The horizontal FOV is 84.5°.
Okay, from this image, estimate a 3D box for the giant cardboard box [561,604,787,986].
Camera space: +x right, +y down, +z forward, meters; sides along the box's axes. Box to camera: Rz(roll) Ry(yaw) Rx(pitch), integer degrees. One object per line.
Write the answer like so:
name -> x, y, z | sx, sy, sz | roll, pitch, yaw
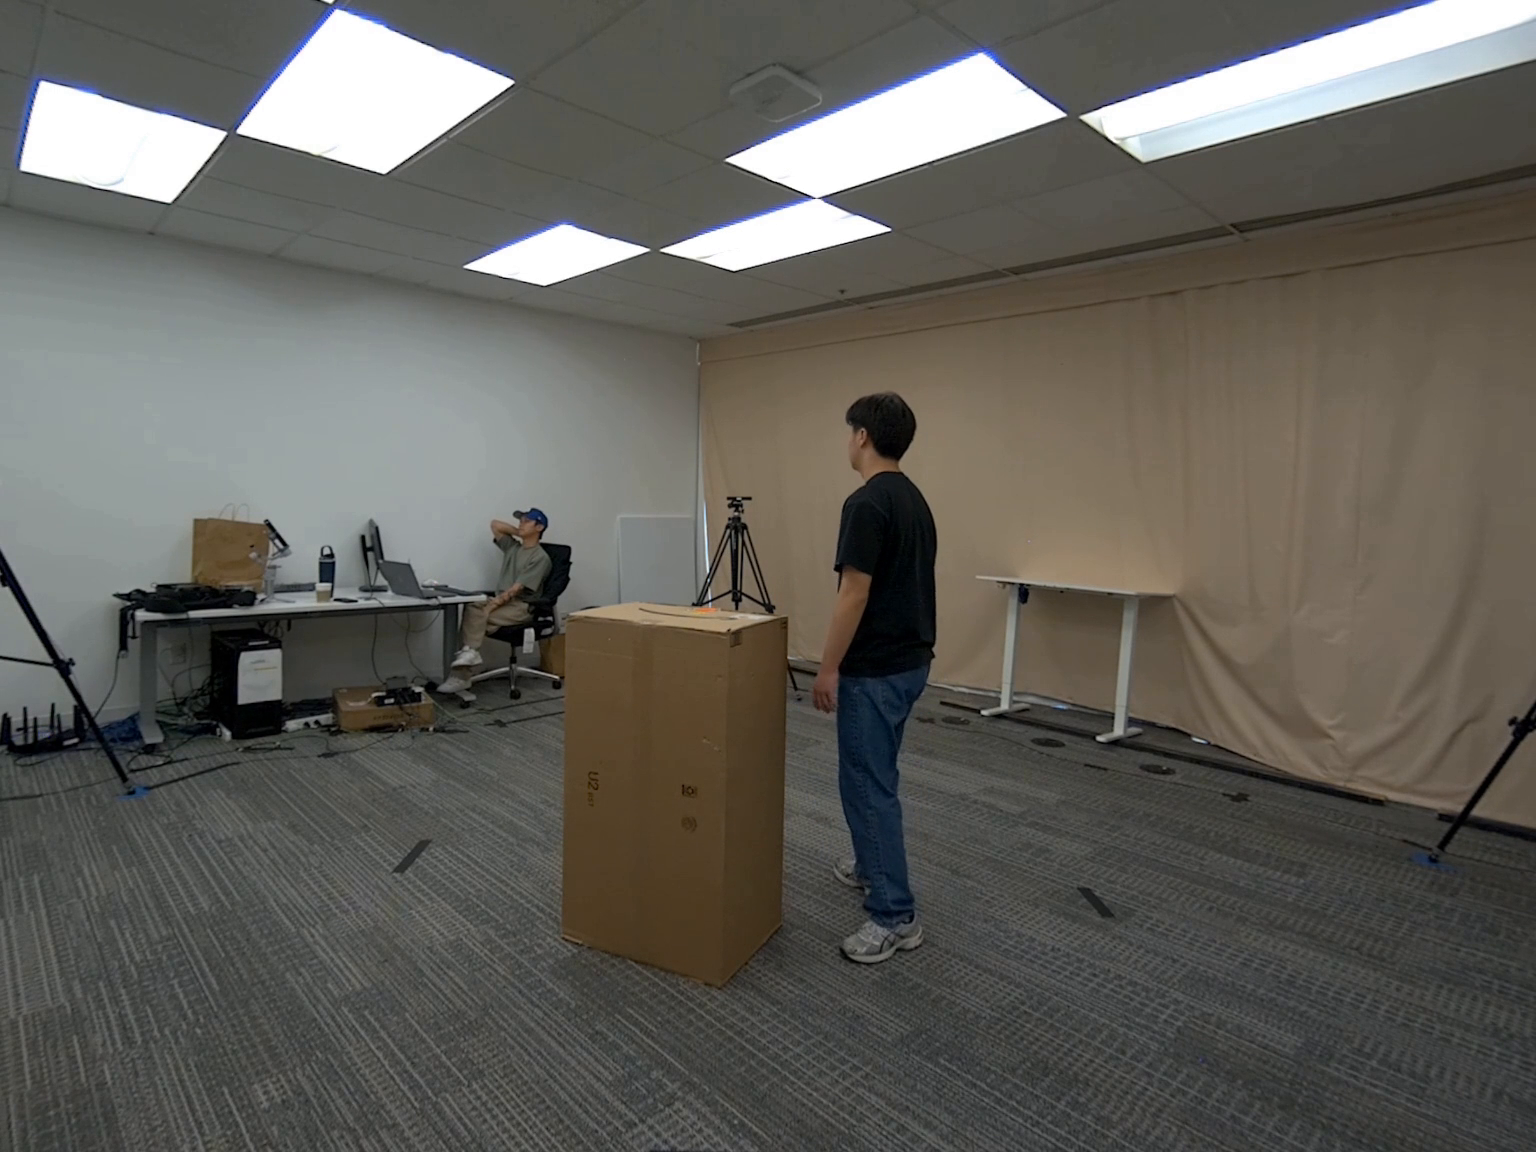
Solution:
giant cardboard box -> -0.294, 0.631, 2.677 | 0.596, 1.025, 0.438 | 3, 3, 28
